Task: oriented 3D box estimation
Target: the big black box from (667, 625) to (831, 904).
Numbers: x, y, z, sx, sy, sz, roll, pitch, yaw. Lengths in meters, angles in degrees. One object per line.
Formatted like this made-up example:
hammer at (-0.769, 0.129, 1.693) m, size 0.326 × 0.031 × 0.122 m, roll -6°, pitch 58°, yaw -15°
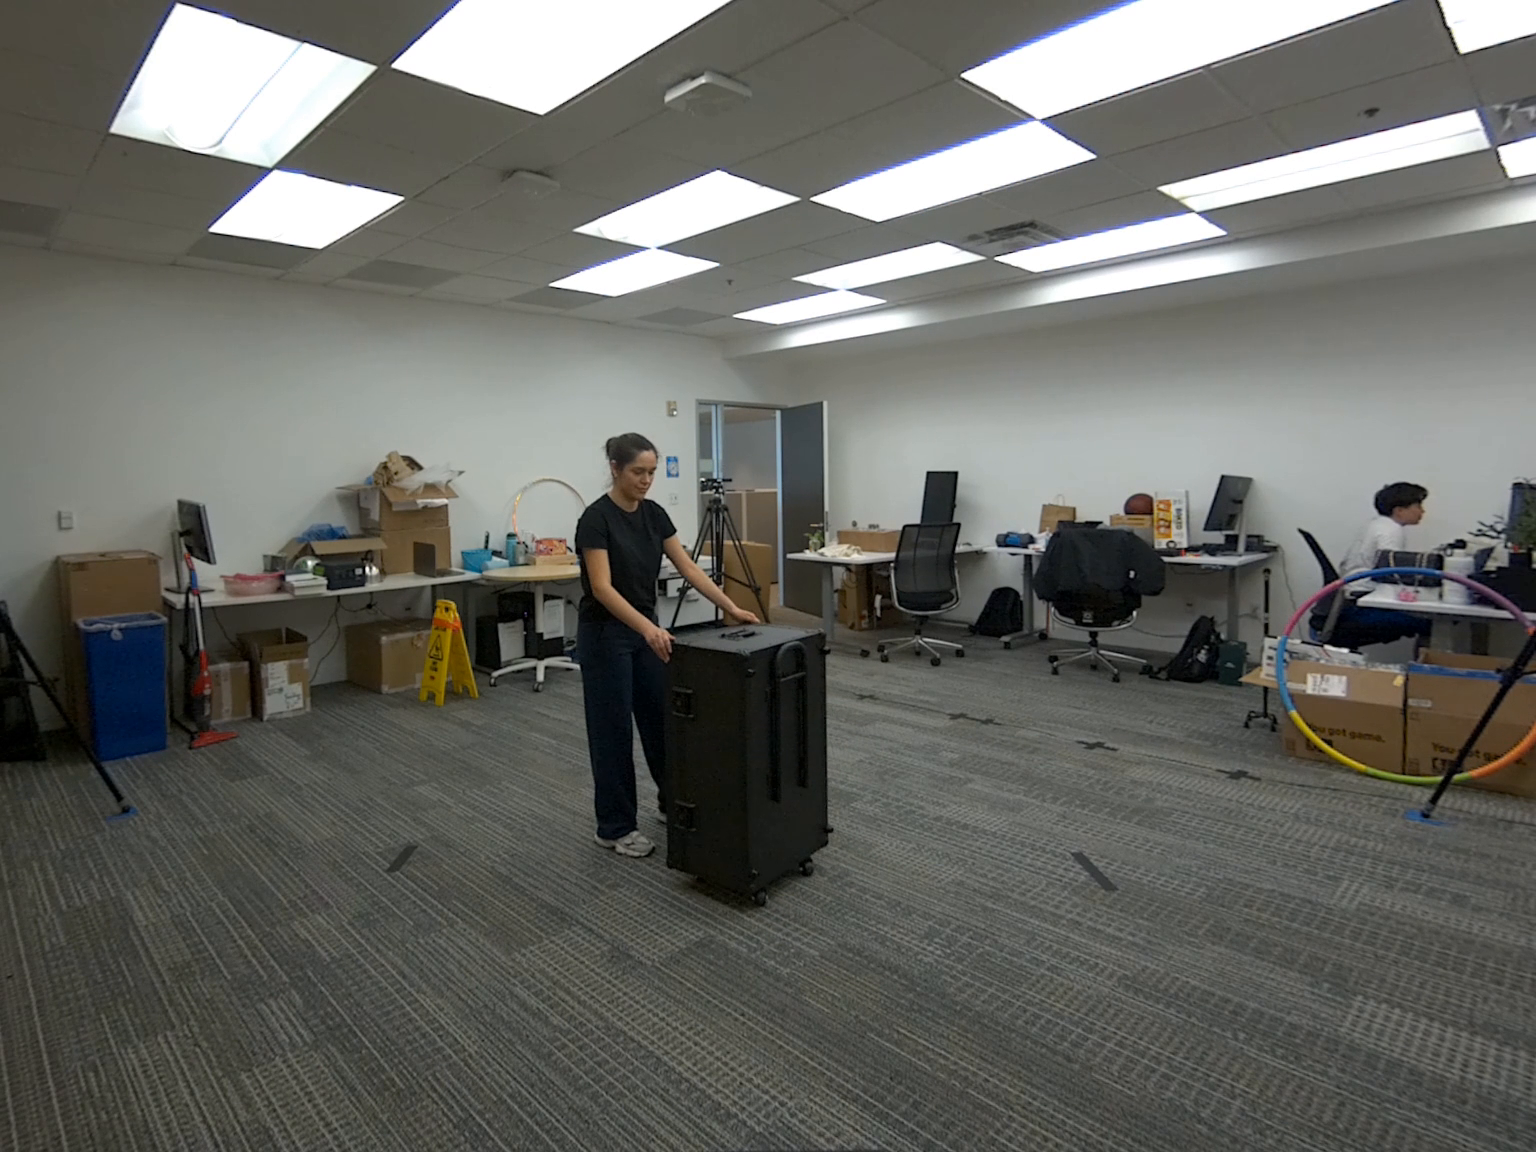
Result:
big black box at (-0.058, 0.628, 2.993) m, size 0.408 × 0.858 × 0.508 m, roll 3°, pitch 6°, yaw 38°
